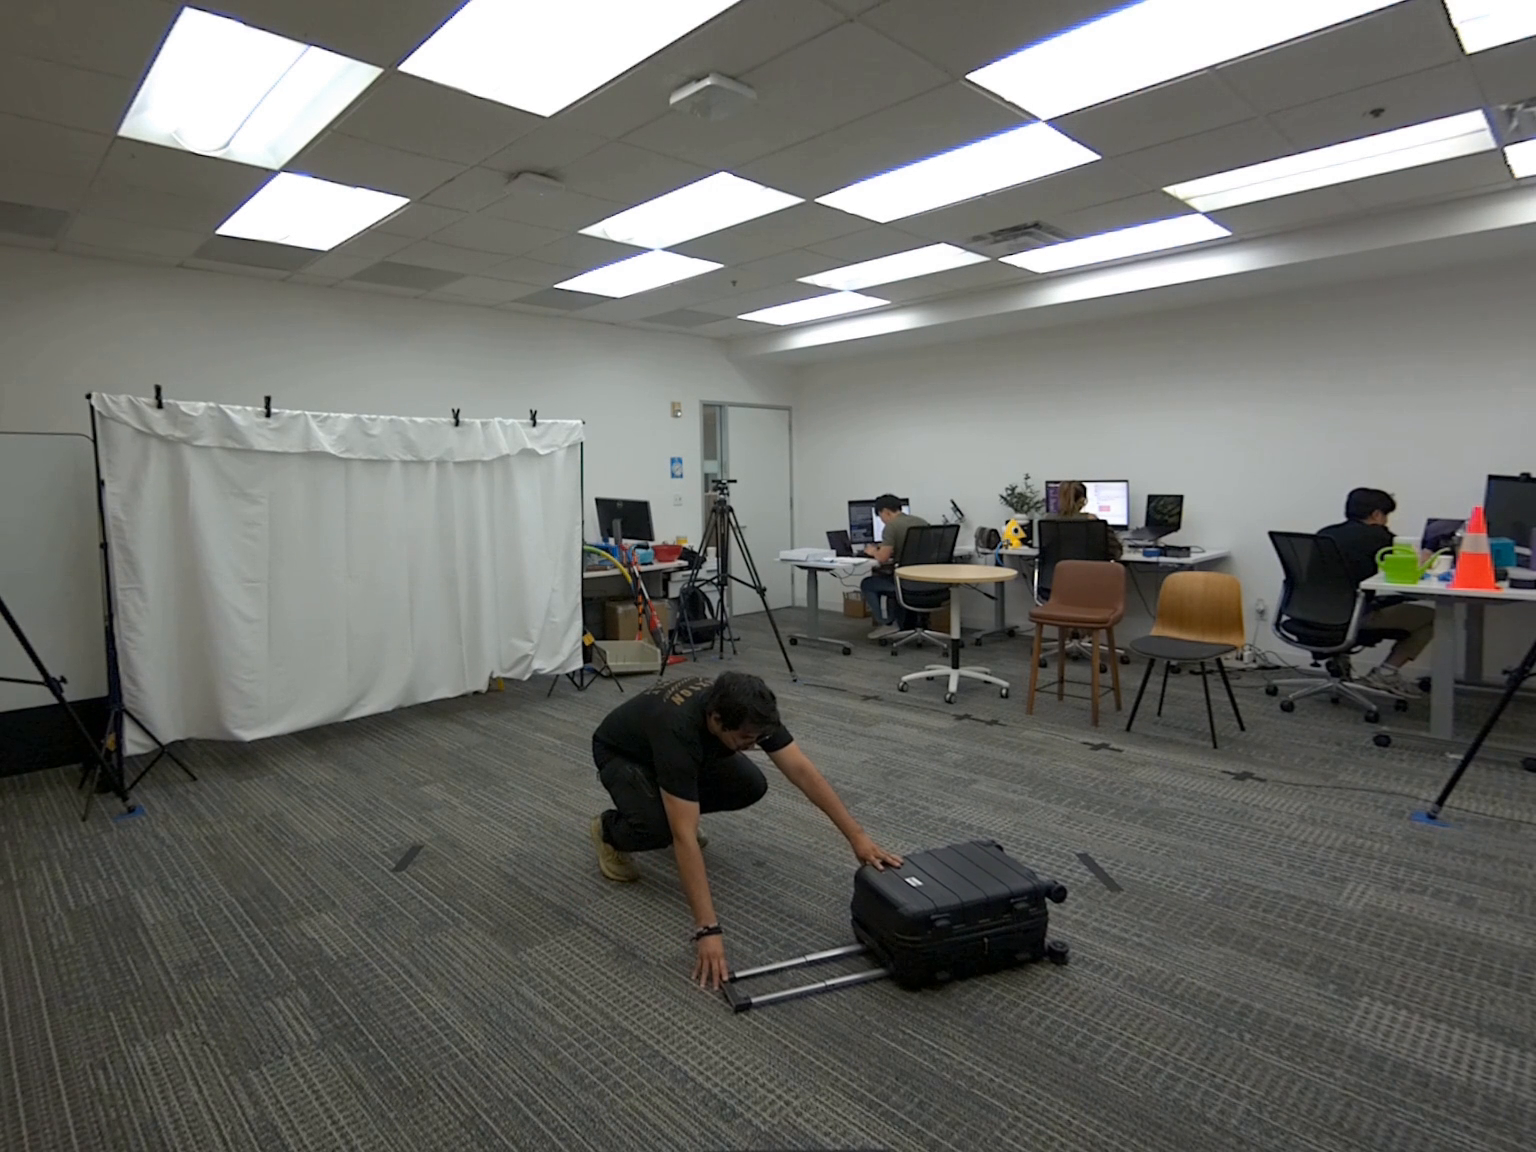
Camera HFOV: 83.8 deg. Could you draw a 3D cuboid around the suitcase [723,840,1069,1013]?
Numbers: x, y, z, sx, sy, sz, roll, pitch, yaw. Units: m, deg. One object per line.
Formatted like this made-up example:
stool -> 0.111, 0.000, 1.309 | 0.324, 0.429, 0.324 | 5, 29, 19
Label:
suitcase -> 0.353, 0.988, 2.456 | 0.961, 0.256, 0.392 | -2, 6, -19
